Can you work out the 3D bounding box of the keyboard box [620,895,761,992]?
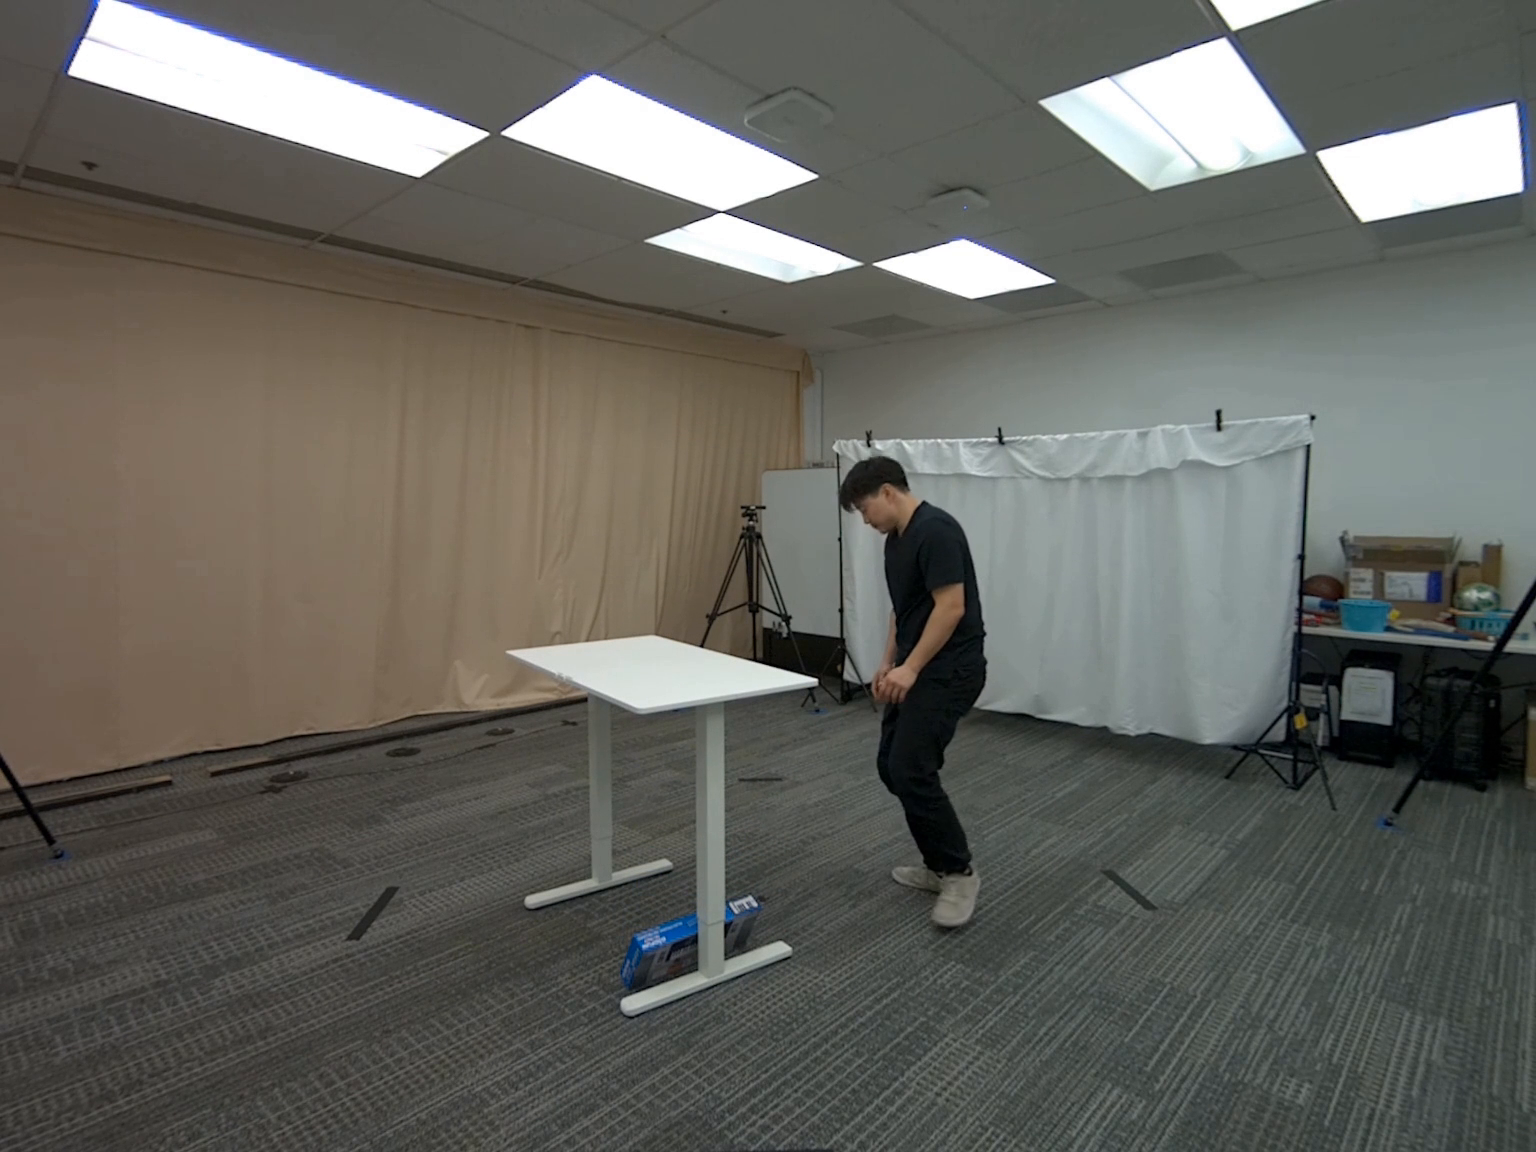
[{"bbox_3d":[-0.224,1.100,2.531,0.424,0.175,0.061,-4,32,-37],"label":"keyboard box"}]
